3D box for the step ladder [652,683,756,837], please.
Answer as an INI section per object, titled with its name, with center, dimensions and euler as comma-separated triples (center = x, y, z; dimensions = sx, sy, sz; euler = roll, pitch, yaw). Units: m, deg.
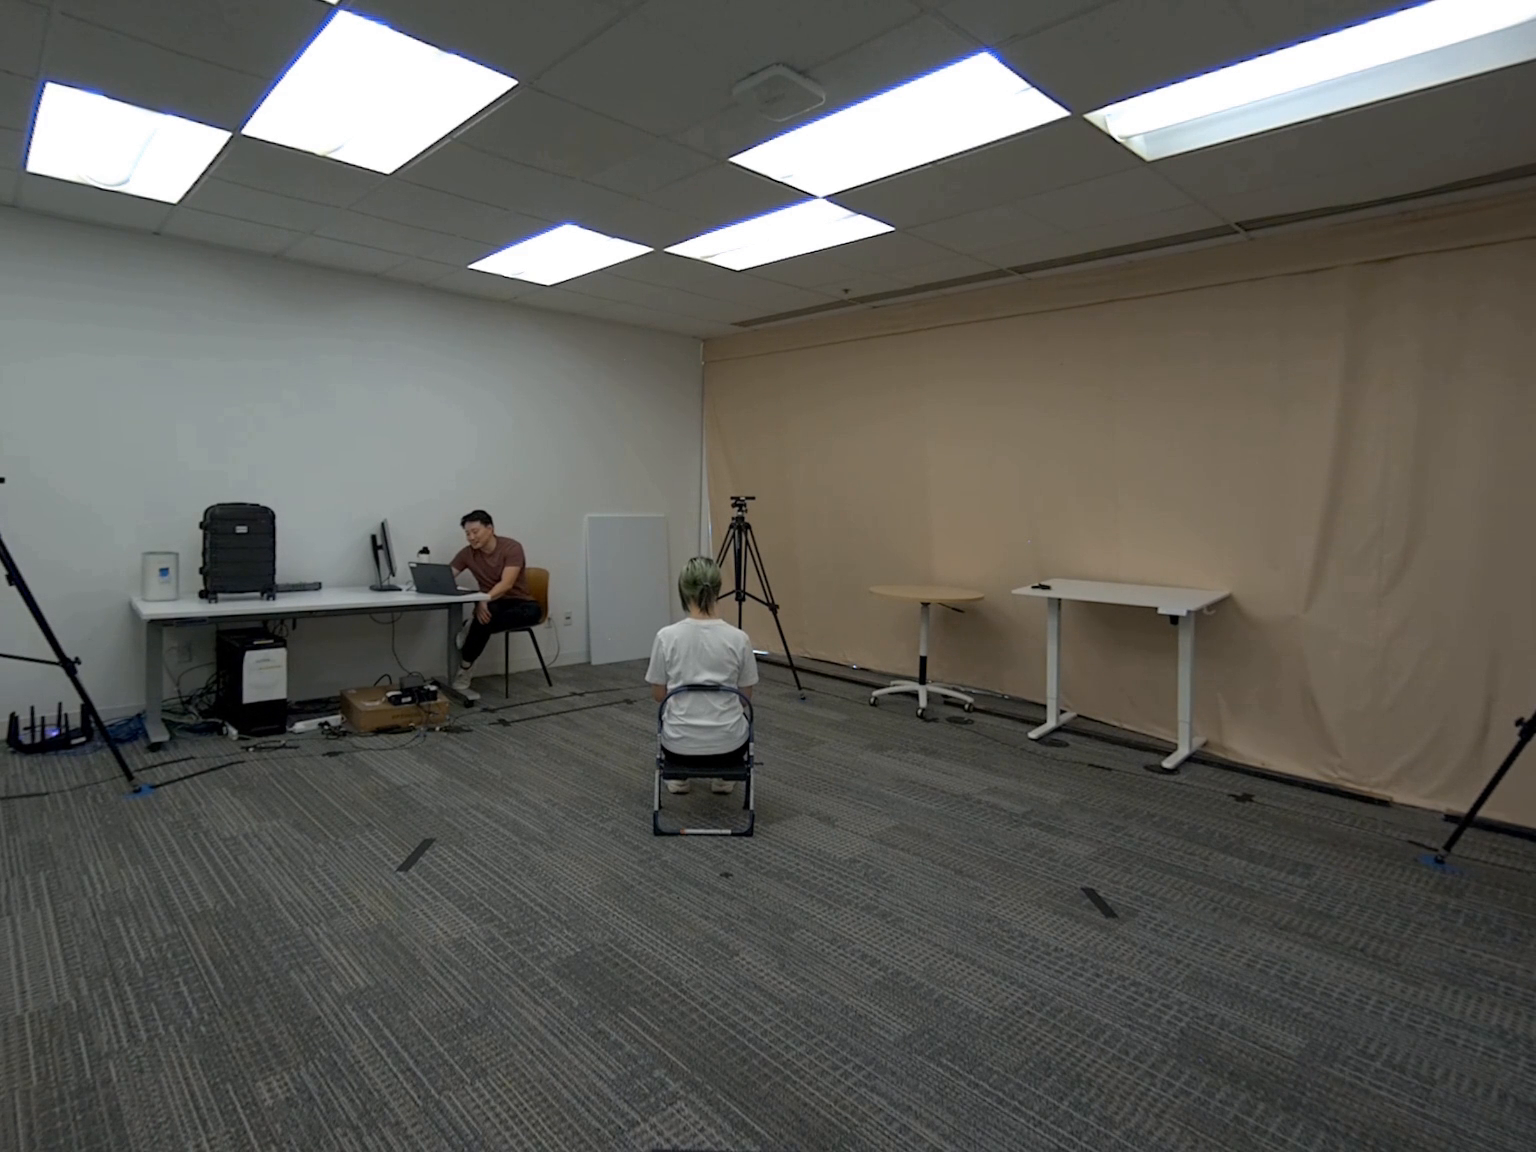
[step ladder]
center = -0.285, 0.762, 3.613
dimensions = 0.429, 0.605, 0.351
euler = 1, 2, -4
